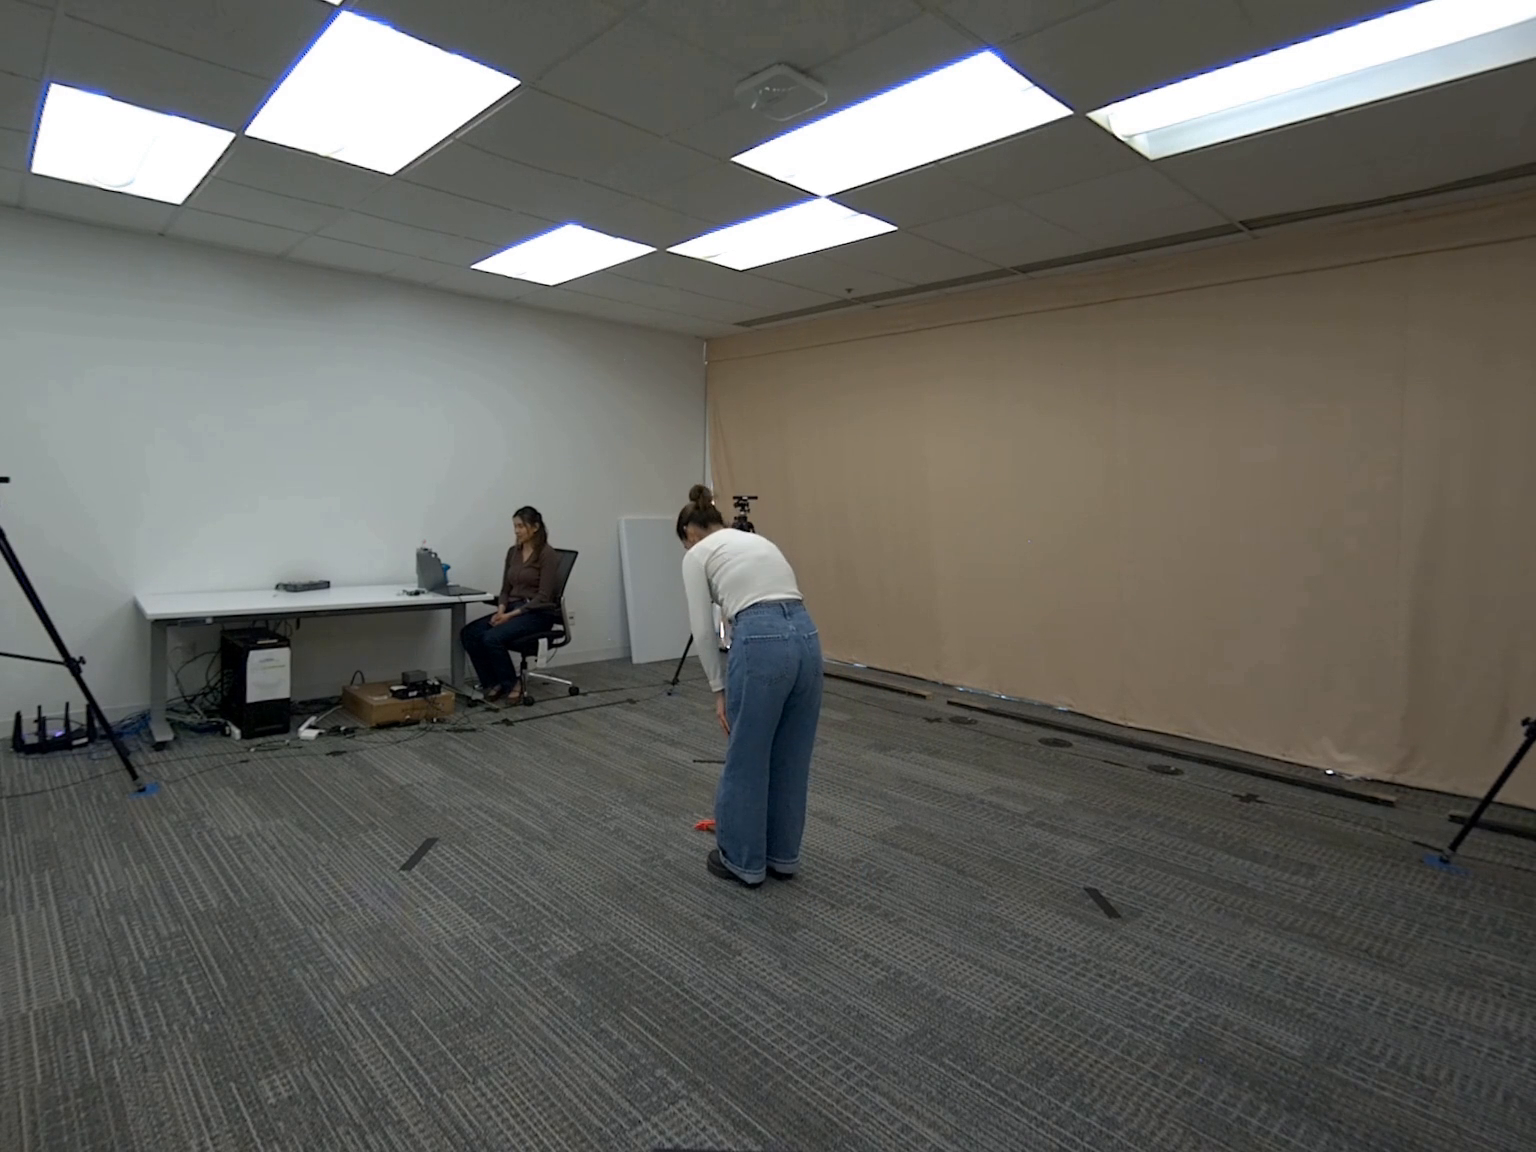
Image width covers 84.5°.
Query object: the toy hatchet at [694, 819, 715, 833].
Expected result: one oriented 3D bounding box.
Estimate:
[{"bbox_3d":[-0.174,1.059,3.482,0.277,0.029,0.128,8,4,33],"label":"toy hatchet"}]
